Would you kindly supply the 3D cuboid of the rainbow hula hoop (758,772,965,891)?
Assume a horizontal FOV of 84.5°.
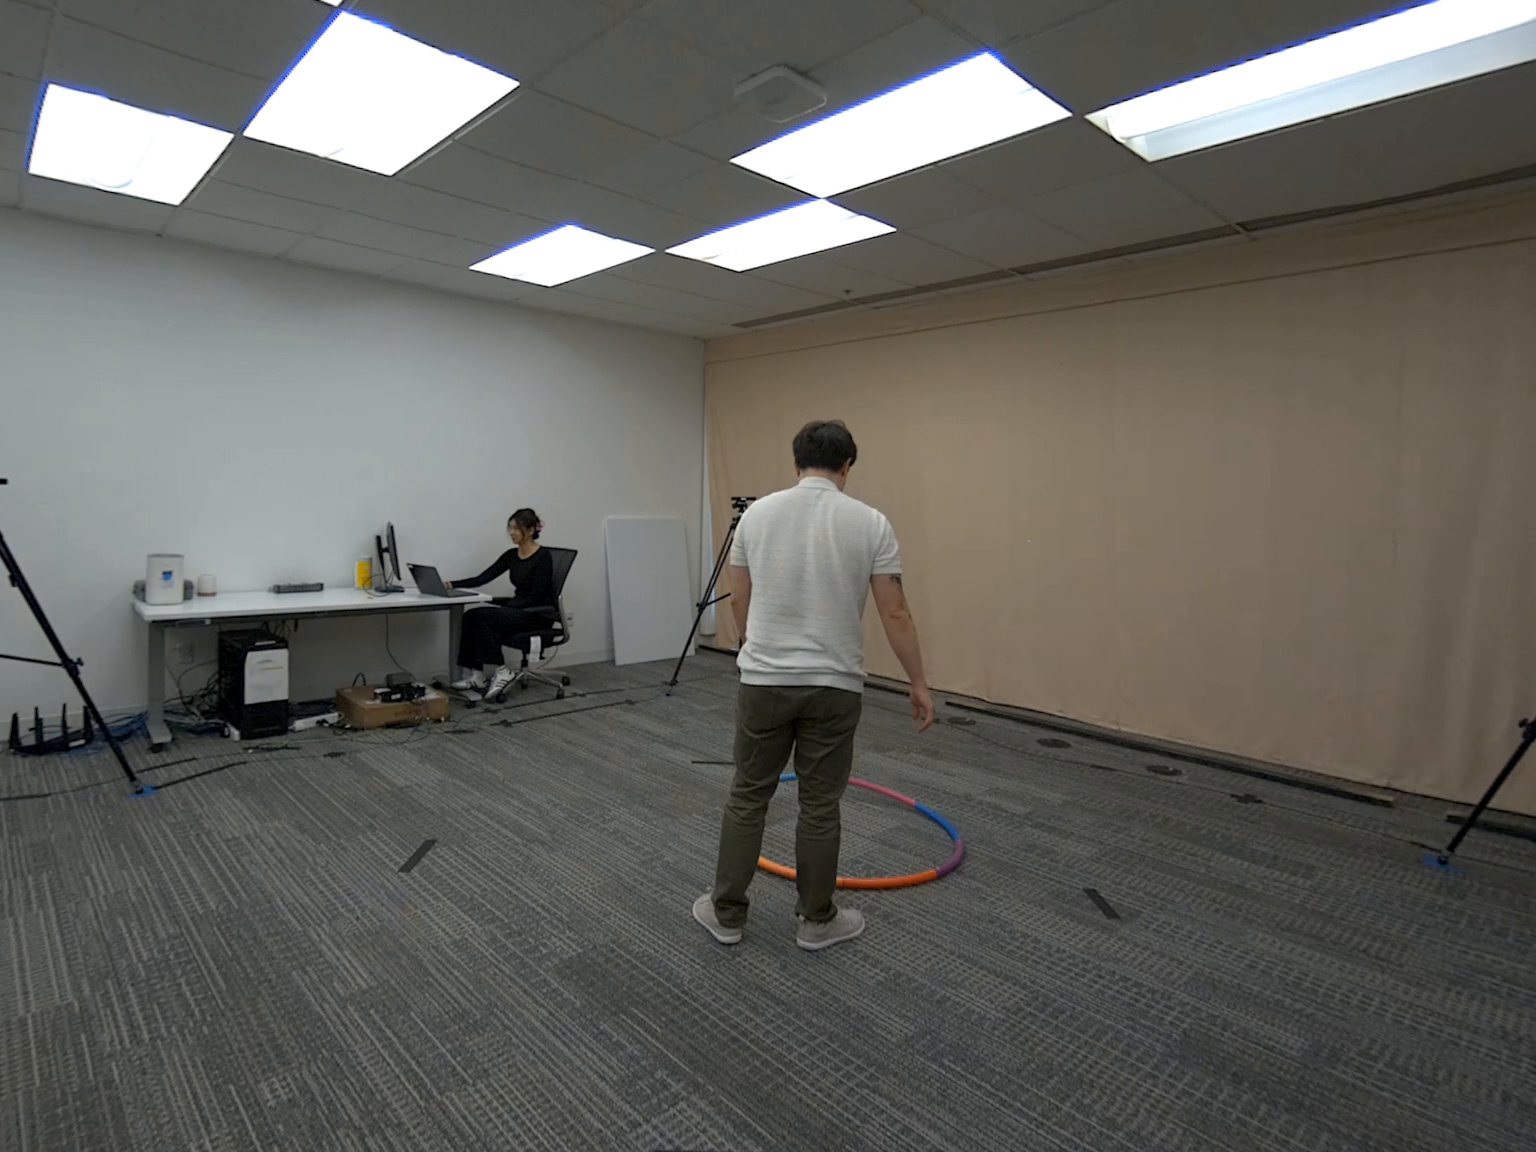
[{"bbox_3d":[0.293,1.007,3.491,0.978,0.035,0.984,2,7,-2],"label":"rainbow hula hoop"}]
